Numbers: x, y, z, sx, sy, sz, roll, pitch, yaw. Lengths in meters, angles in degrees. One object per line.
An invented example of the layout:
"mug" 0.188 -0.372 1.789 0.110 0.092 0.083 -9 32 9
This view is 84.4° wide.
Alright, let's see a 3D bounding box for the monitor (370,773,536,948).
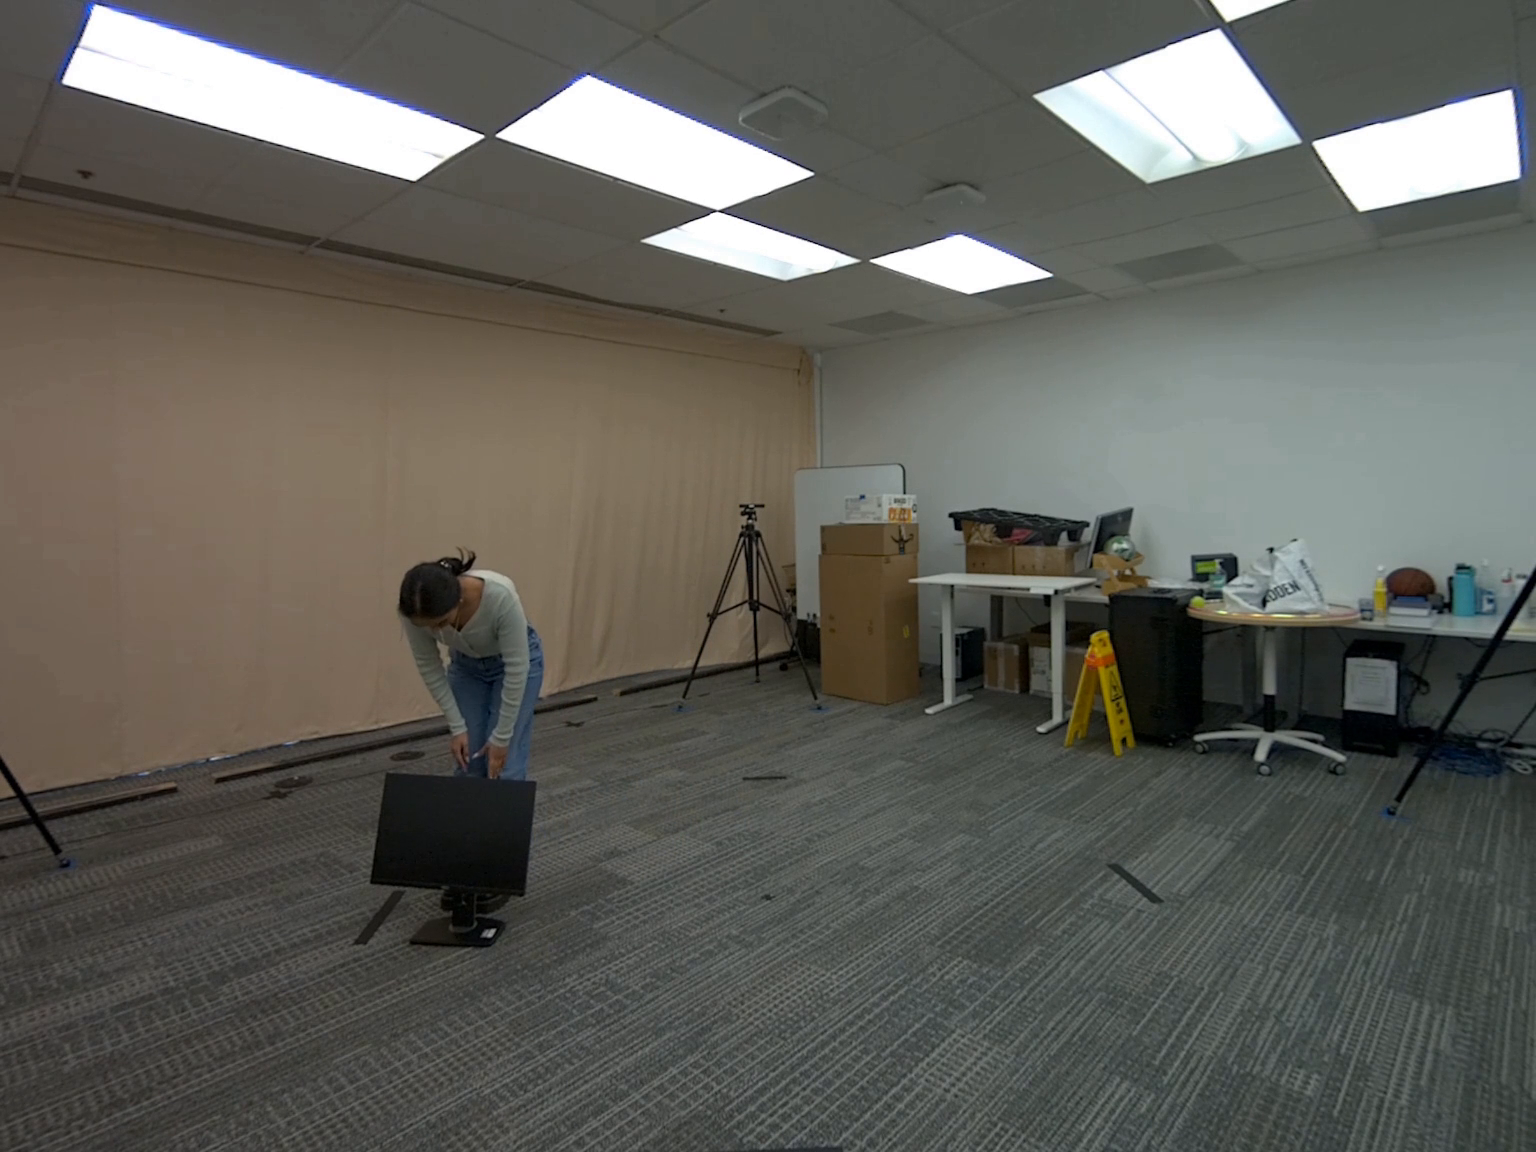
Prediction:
"monitor" -1.027 0.914 2.774 0.535 0.515 0.173 1 4 9
